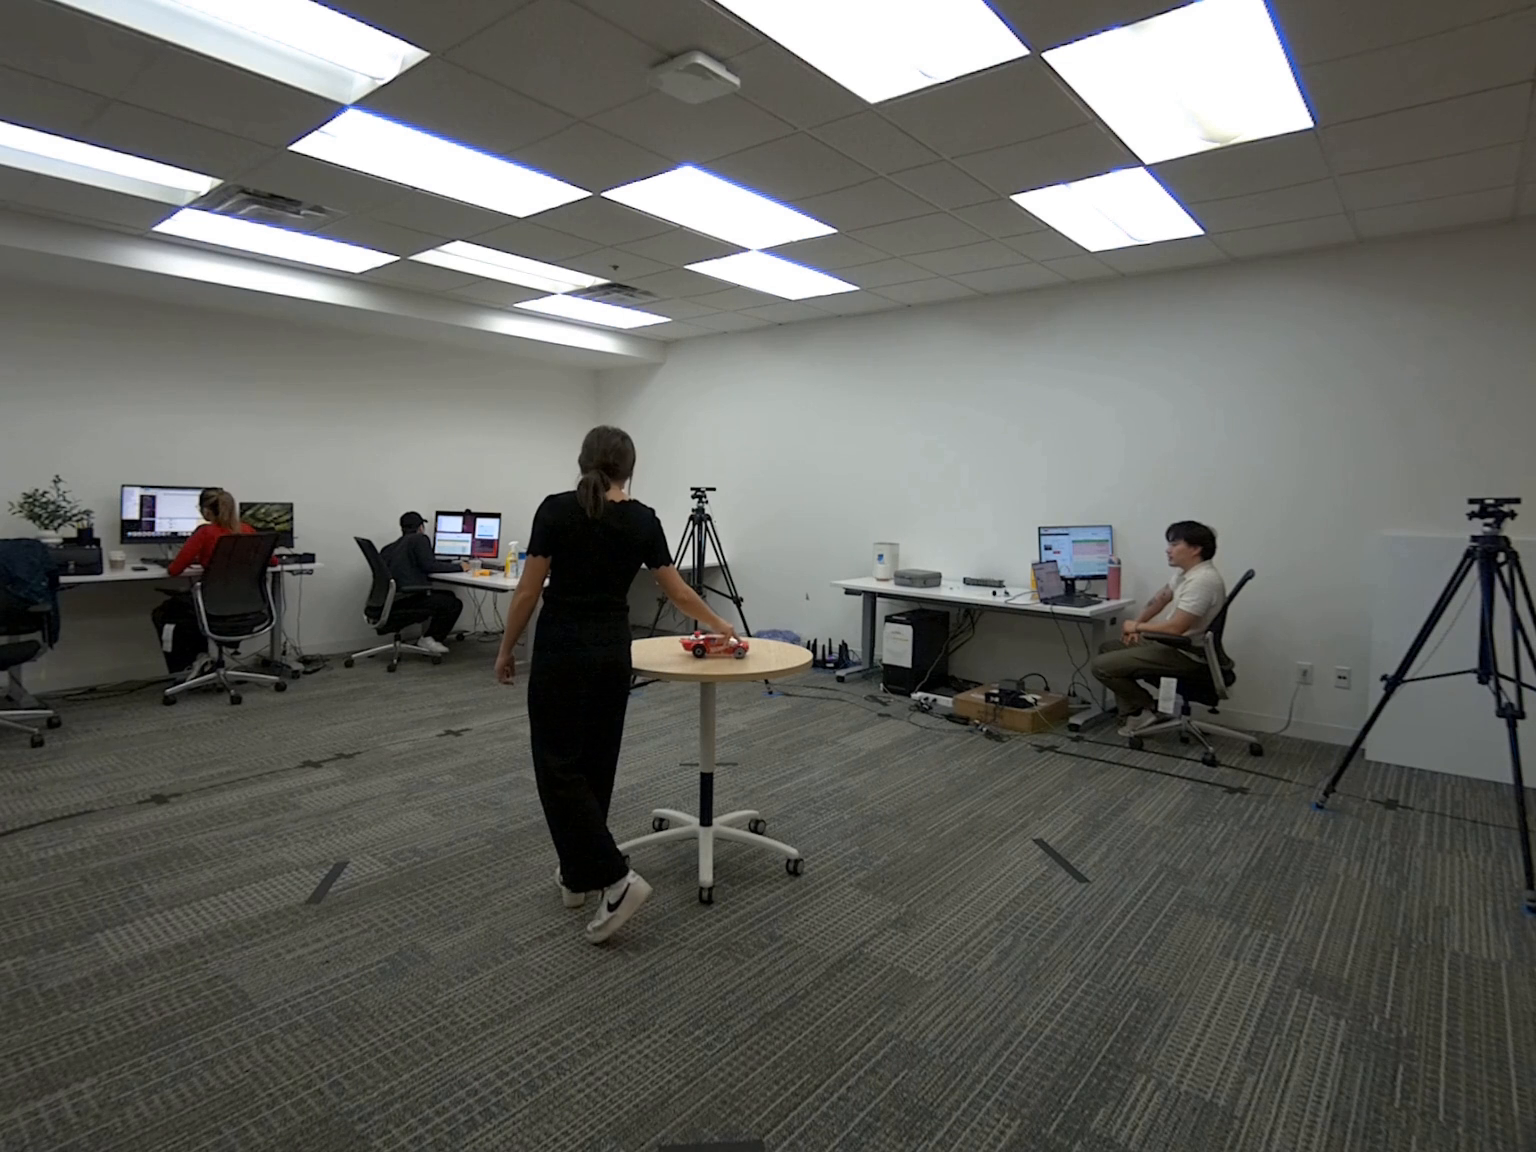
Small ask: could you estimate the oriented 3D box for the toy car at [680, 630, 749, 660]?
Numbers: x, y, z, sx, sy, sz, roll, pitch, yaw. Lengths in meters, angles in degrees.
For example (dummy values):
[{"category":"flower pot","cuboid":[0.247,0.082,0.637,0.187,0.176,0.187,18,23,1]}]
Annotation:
[{"category":"toy car","cuboid":[-0.206,0.253,3.069,0.255,0.083,0.130,13,6,2]}]
